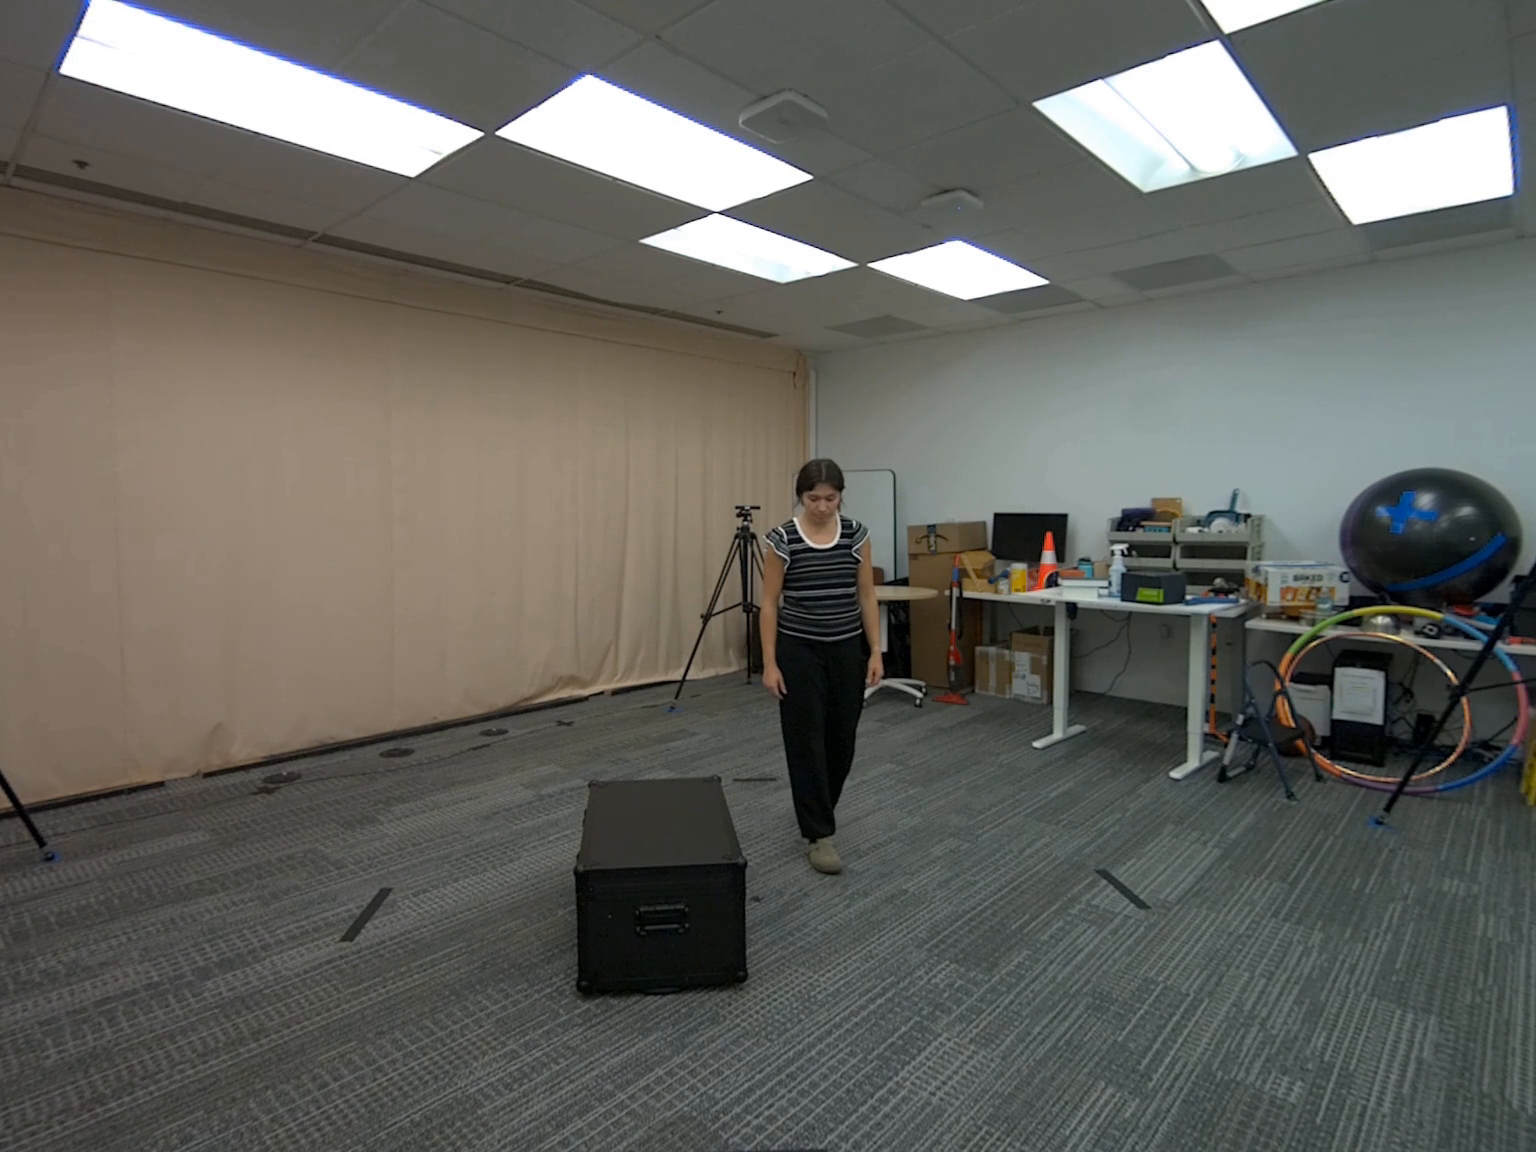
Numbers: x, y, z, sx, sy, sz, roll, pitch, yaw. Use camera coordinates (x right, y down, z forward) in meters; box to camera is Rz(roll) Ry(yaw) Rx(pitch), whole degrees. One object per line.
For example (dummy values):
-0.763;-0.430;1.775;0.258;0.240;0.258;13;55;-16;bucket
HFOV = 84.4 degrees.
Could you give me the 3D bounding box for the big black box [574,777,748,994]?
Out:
-0.359;0.968;2.802;0.517;0.395;0.870;0;4;-8;big black box
